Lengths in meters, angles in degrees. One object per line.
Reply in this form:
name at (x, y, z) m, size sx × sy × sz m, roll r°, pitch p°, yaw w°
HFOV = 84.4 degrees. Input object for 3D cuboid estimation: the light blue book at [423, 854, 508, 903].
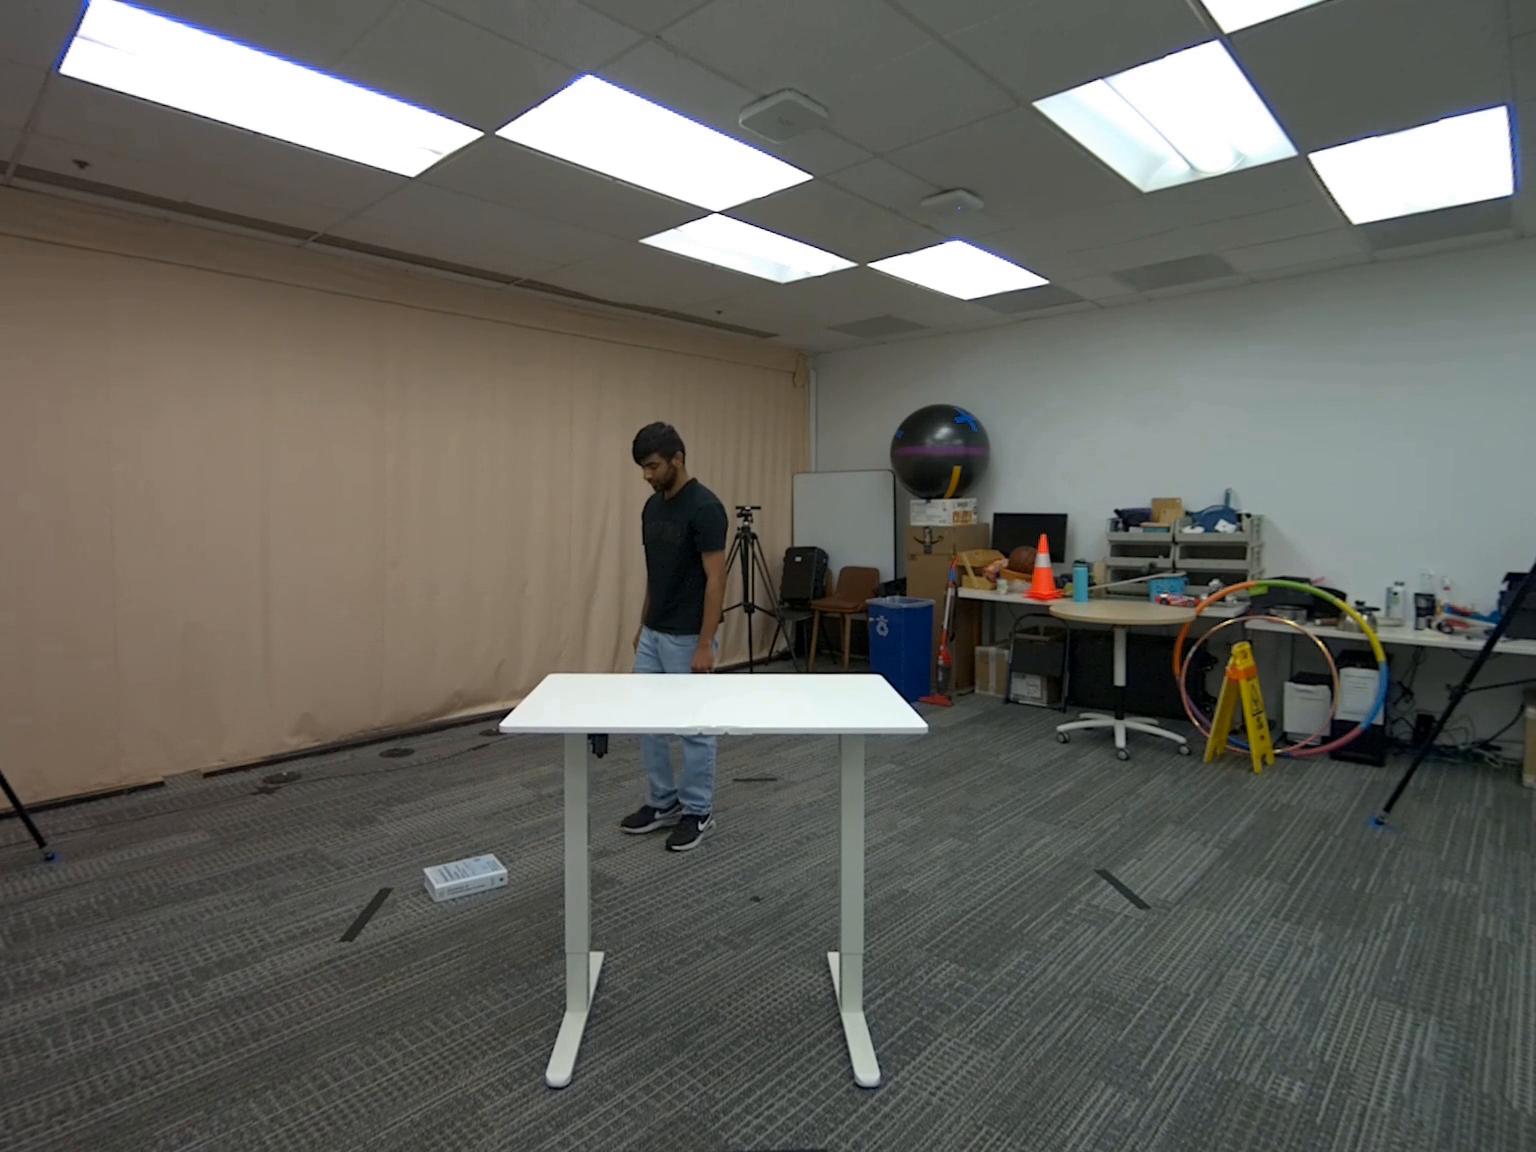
light blue book at (-1.122, 1.113, 3.109) m, size 0.254 × 0.059 × 0.197 m, roll -3°, pitch 4°, yaw -33°
